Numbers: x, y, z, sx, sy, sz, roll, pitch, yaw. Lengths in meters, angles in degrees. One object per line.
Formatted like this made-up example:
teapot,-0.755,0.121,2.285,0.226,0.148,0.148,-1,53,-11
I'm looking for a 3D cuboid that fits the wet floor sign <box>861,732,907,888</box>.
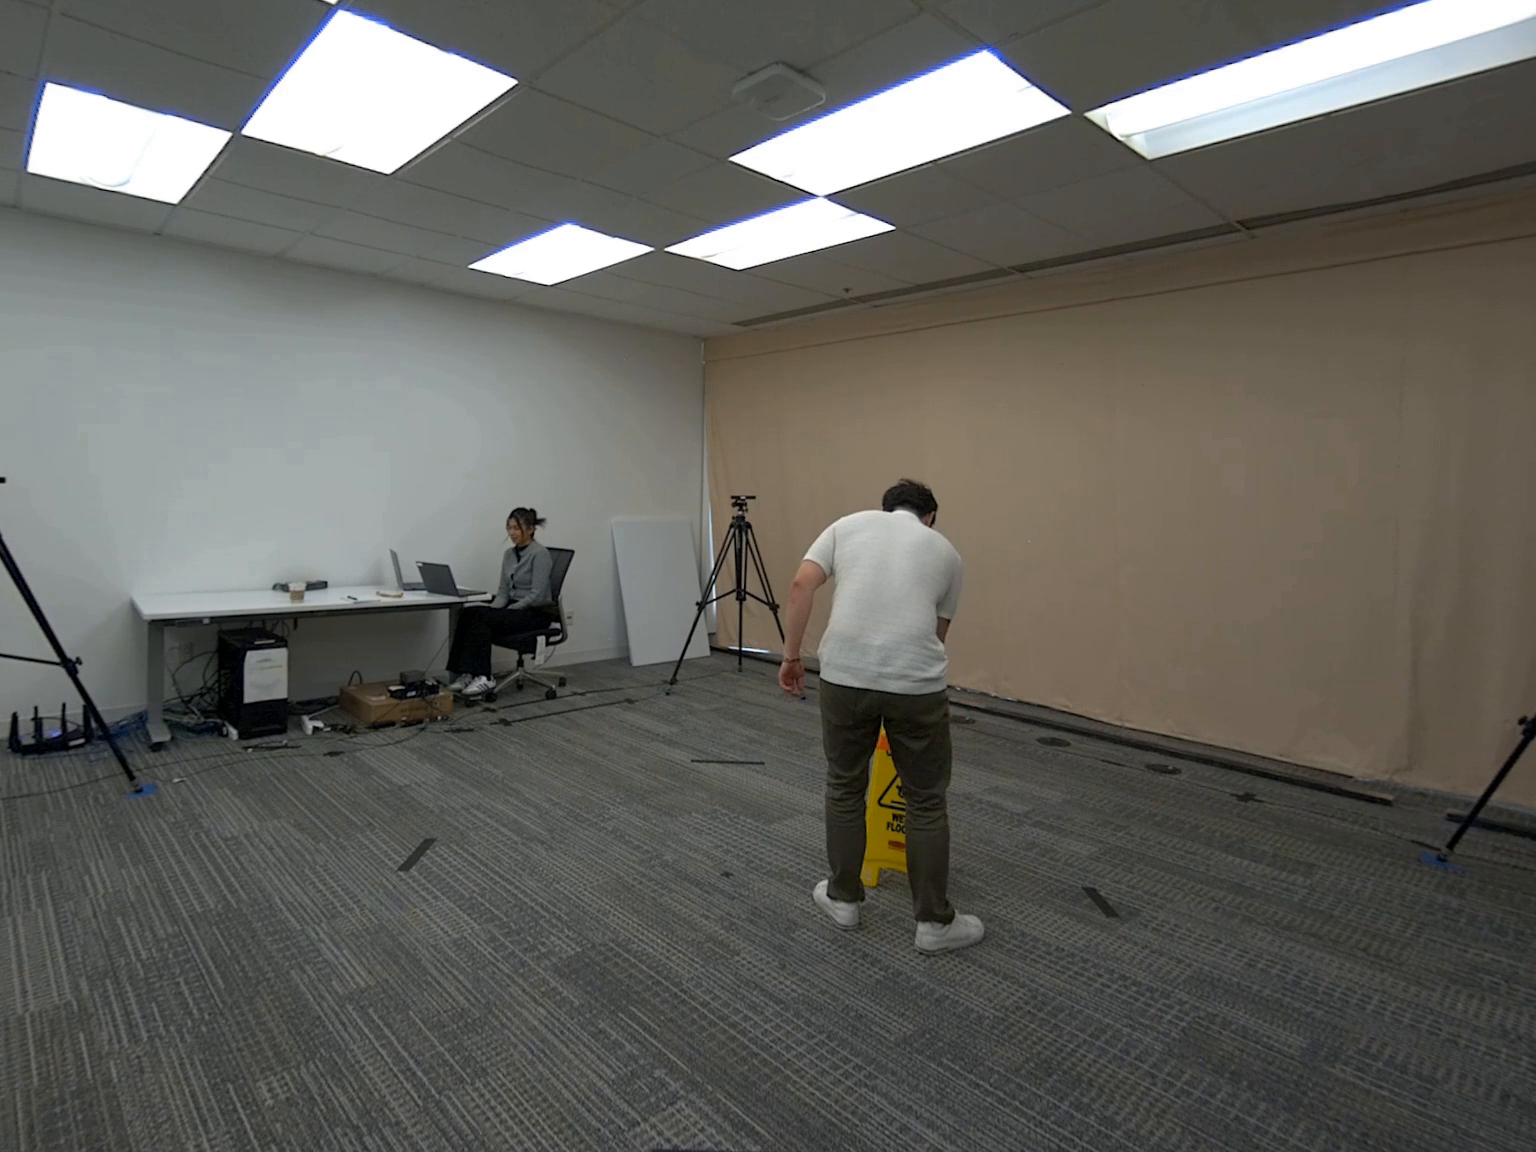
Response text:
wet floor sign,0.512,0.798,3.114,0.287,0.645,0.285,4,3,23
